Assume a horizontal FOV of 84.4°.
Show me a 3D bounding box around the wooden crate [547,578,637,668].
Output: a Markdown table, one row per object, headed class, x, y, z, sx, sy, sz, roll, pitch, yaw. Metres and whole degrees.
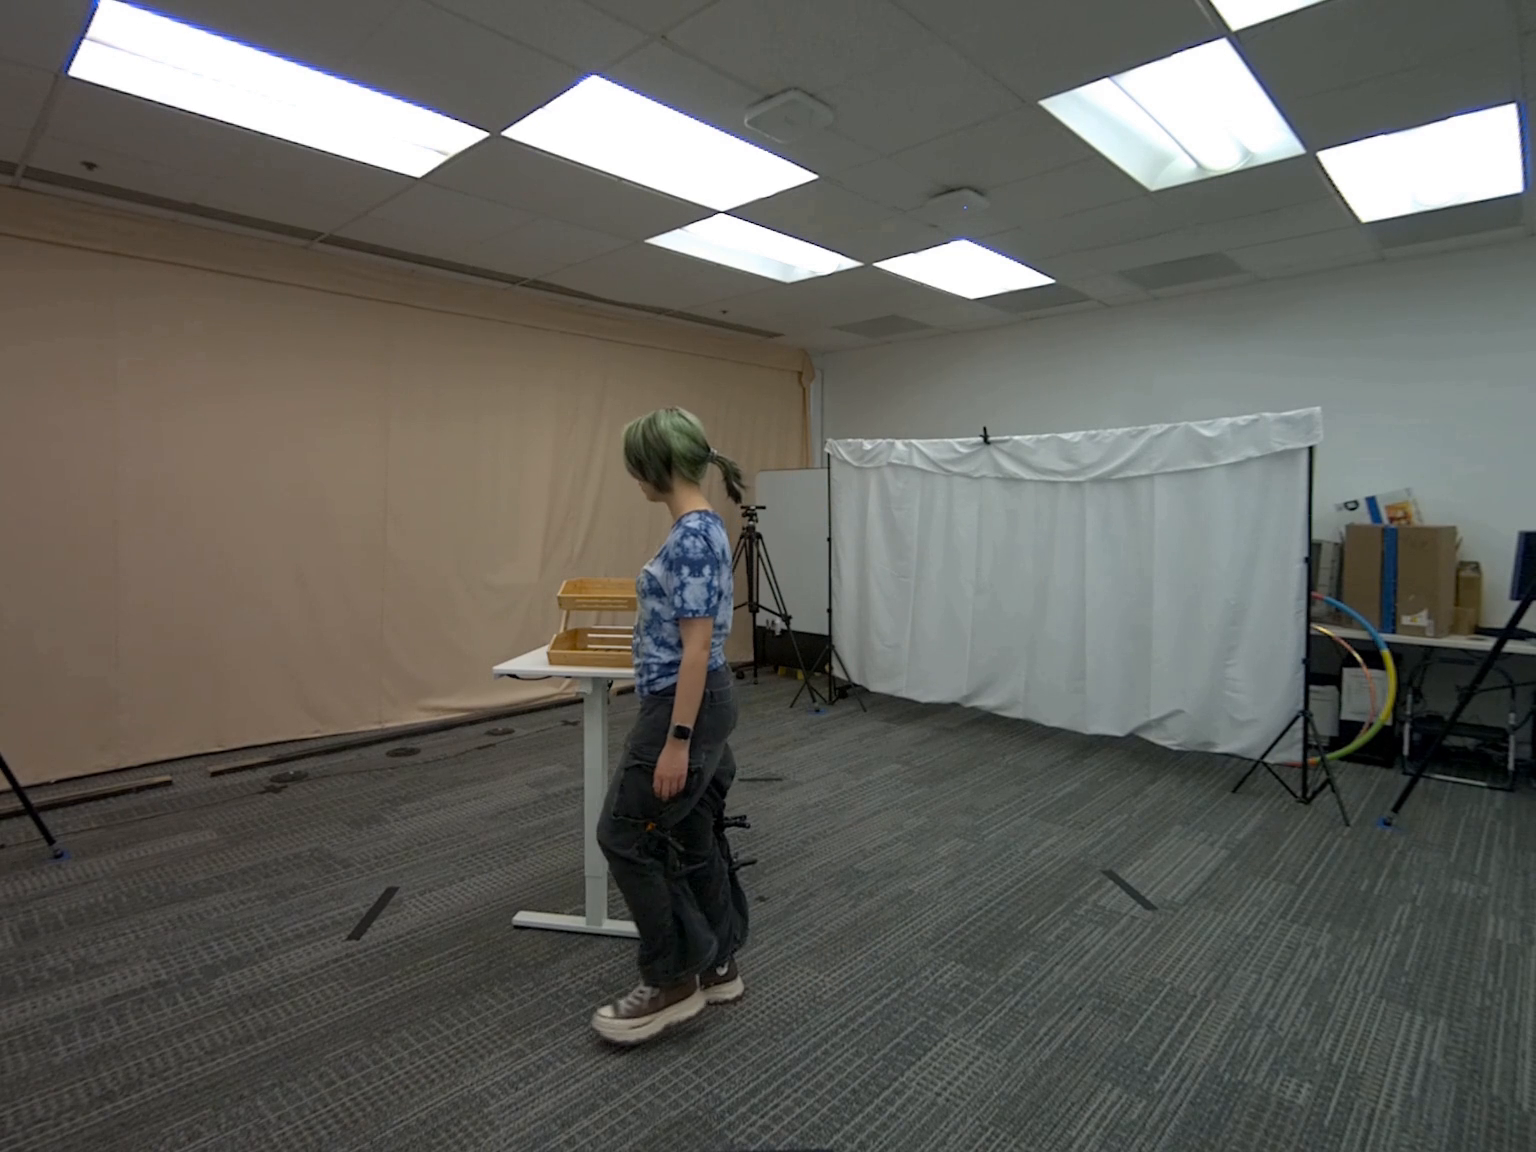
| class | x | y | z | sx | sy | sz | roll | pitch | yaw |
| --- | --- | --- | --- | --- | --- | --- | --- | --- | --- |
| wooden crate | -0.539 | 0.146 | 2.794 | 0.328 | 0.273 | 0.299 | 1 | 2 | 10 |
